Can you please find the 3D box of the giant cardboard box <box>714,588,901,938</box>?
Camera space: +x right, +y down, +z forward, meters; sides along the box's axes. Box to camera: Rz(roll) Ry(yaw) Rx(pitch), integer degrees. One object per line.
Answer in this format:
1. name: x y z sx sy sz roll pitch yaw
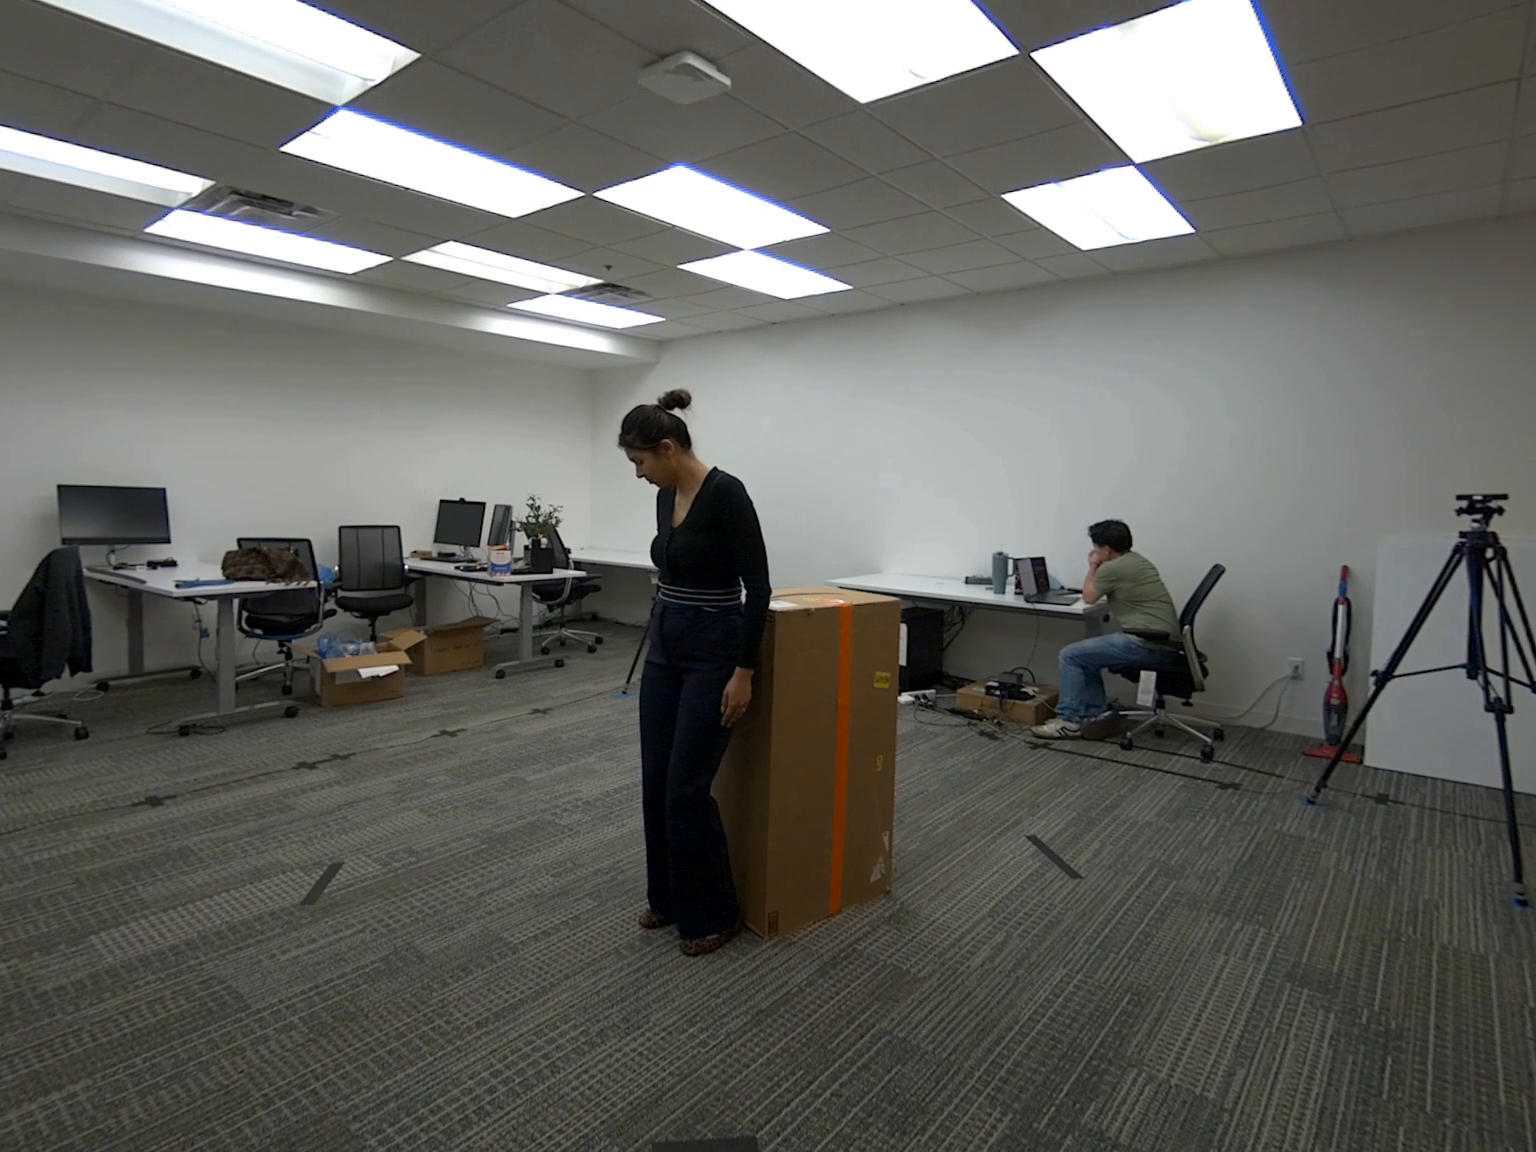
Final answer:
1. giant cardboard box: 0.089 0.580 2.926 0.560 1.023 0.440 -1 4 -39
